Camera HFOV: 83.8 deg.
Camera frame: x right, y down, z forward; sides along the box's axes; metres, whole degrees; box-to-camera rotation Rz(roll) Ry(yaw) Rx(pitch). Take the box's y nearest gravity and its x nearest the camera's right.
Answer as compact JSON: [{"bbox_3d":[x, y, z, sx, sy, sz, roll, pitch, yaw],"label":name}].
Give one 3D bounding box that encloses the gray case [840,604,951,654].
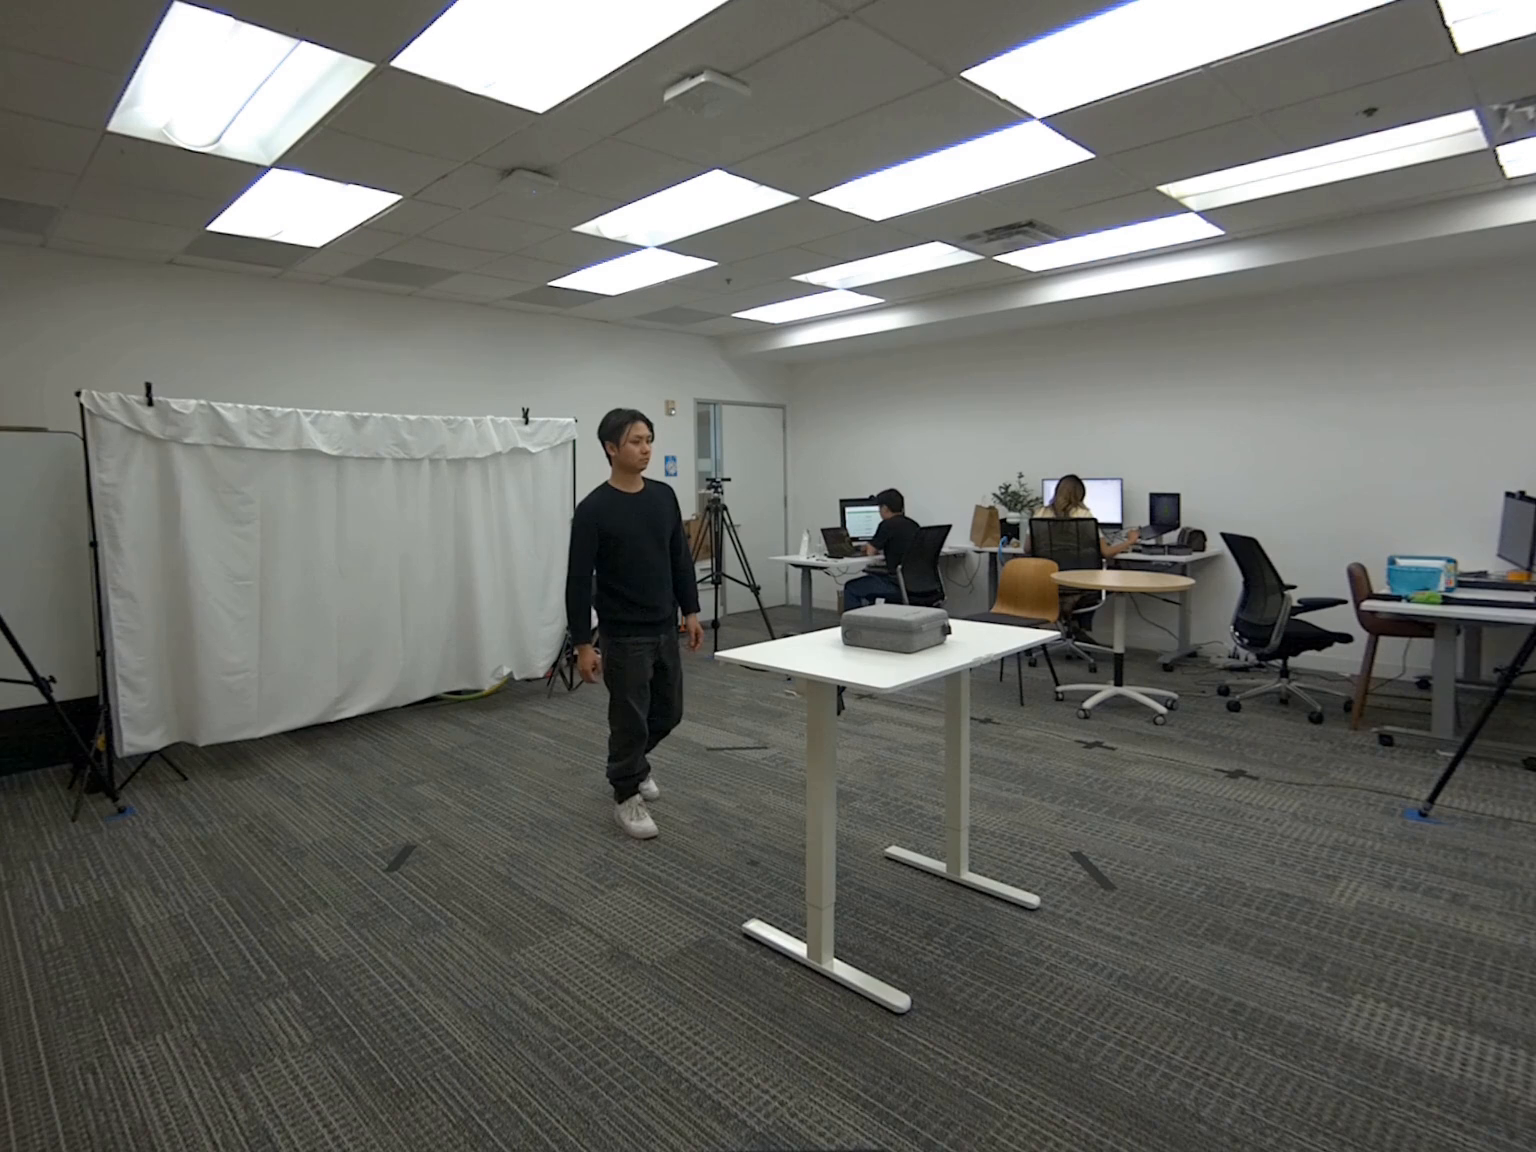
[{"bbox_3d":[0.389,0.156,2.614,0.268,0.104,0.250,4,8,40],"label":"gray case"}]
